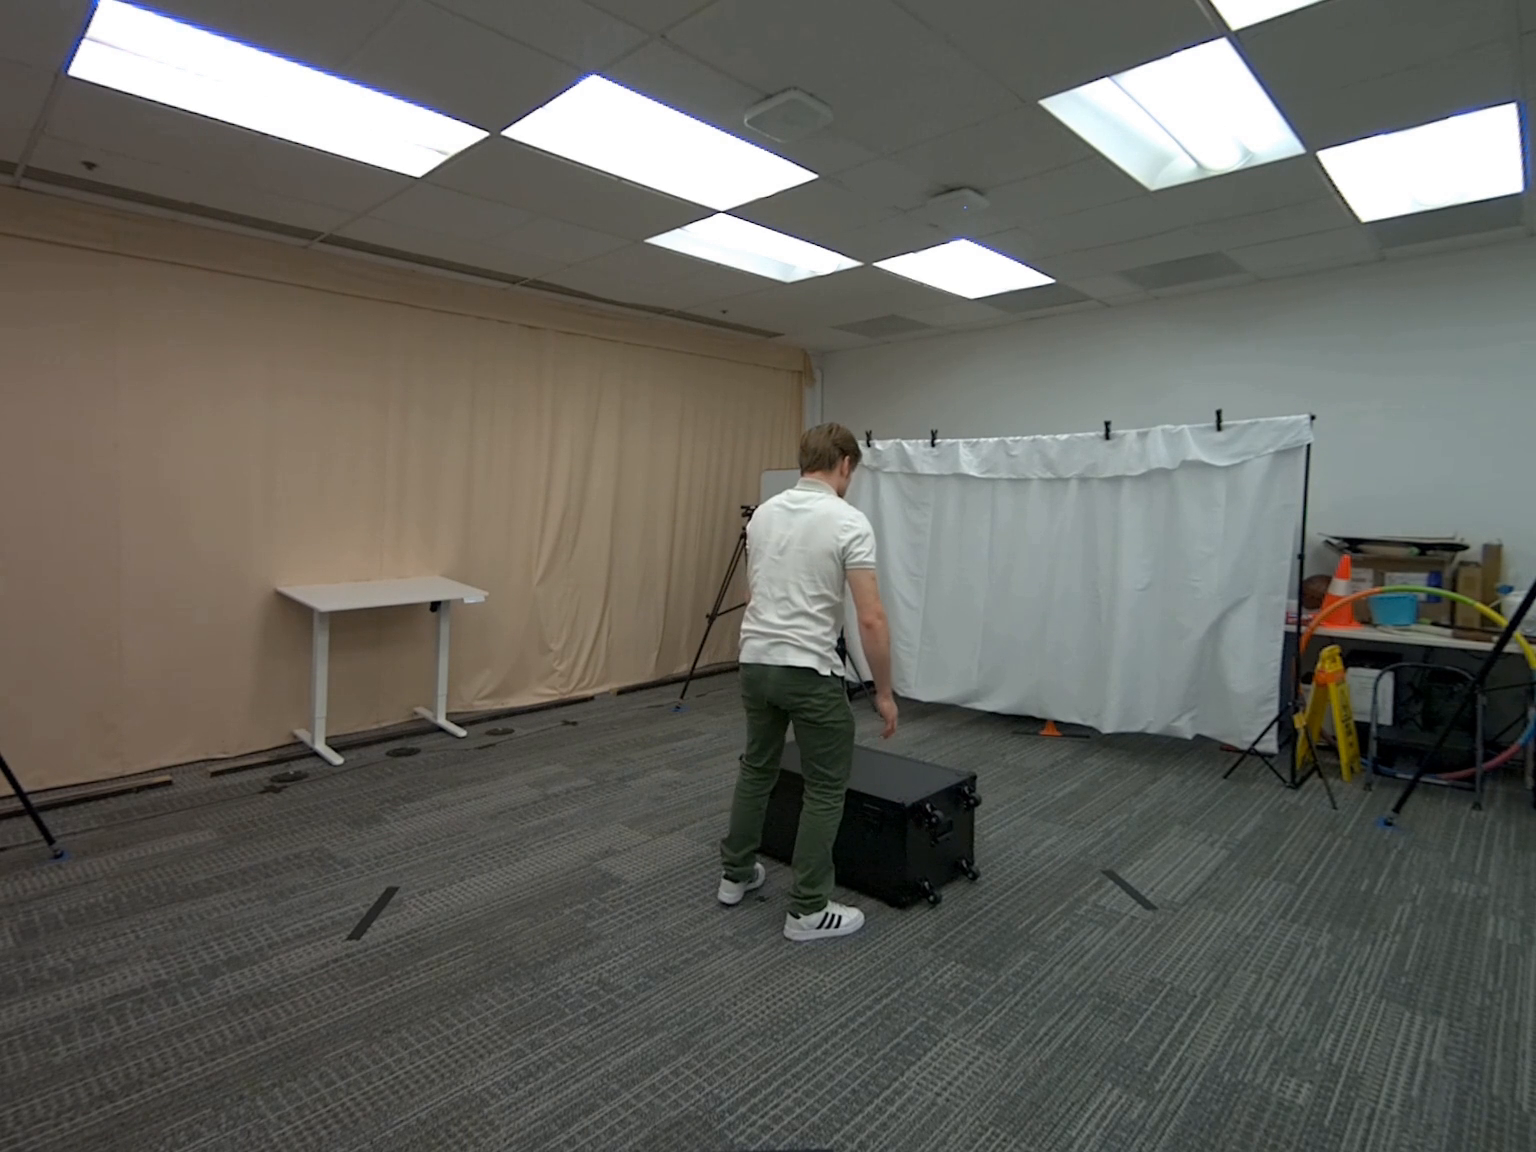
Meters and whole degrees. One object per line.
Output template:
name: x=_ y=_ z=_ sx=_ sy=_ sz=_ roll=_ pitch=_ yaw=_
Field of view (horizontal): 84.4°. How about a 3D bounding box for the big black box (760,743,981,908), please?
big black box: x=0.360 y=0.922 z=3.273 sx=0.898 sy=0.384 sz=0.507 roll=5 pitch=4 yaw=43
